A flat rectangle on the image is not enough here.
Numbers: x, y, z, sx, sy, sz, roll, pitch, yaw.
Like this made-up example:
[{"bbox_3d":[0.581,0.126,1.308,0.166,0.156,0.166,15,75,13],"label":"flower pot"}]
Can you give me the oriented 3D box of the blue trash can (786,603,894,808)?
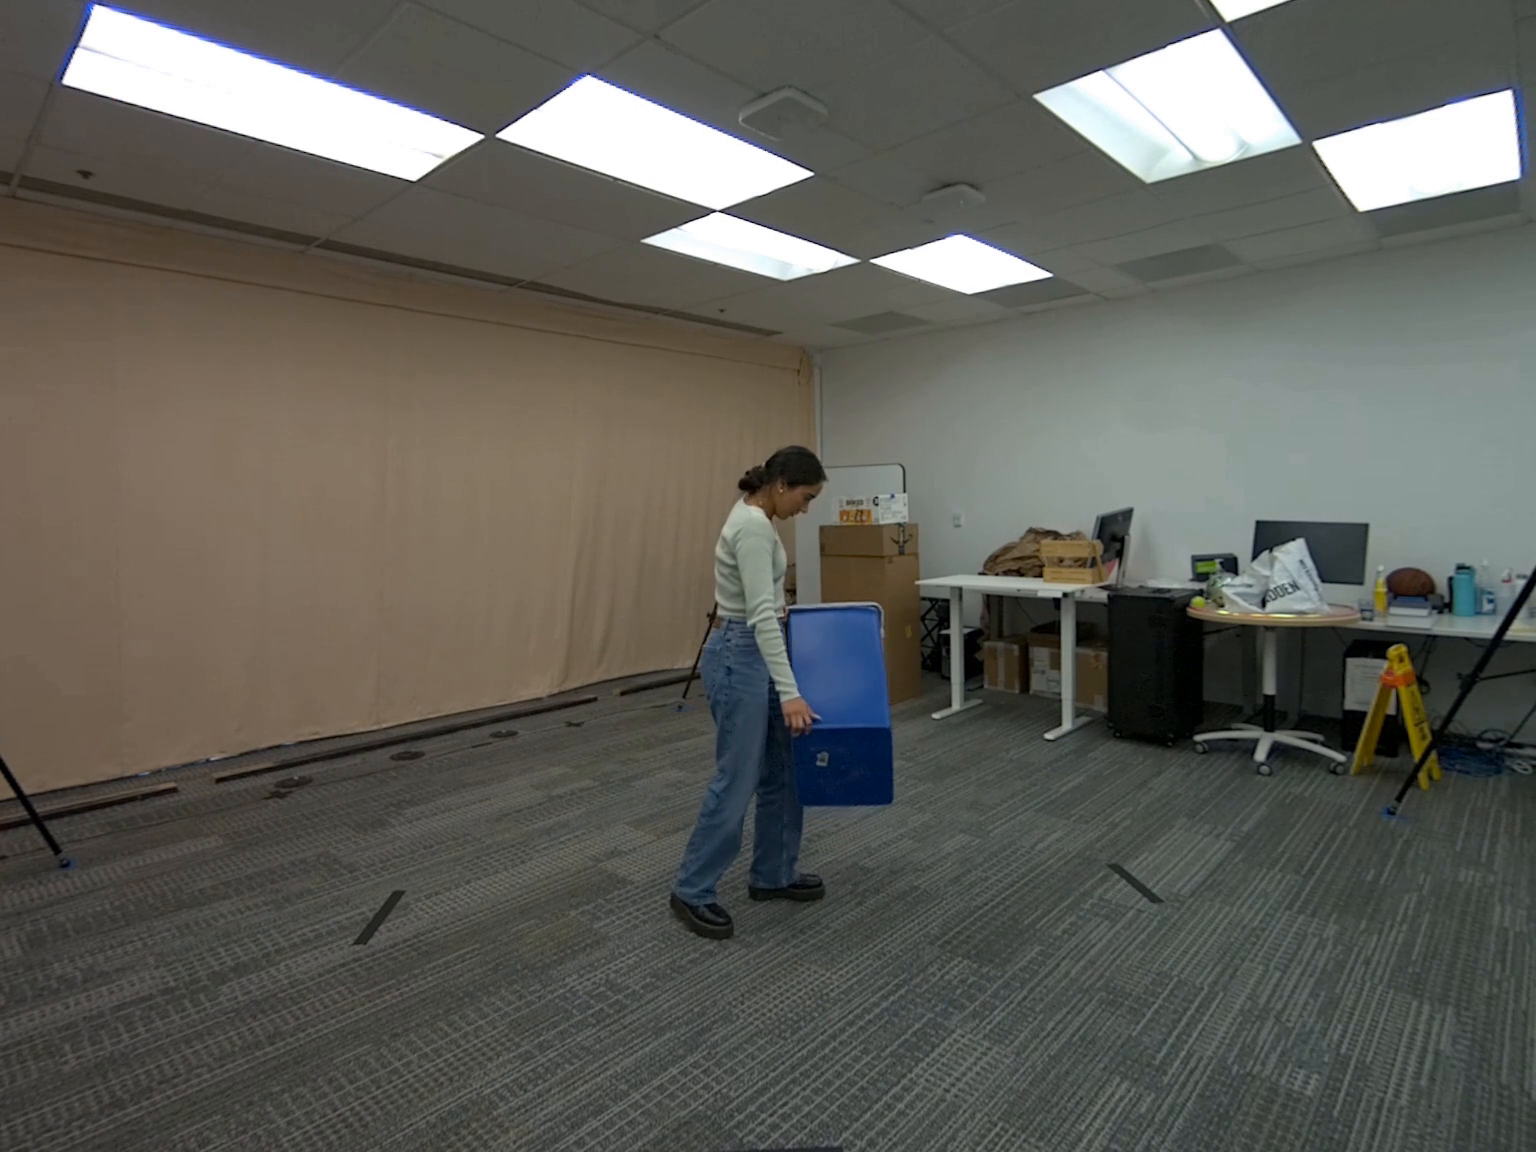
[{"bbox_3d":[0.240,0.419,2.904,0.376,0.372,0.721,-4,25,5],"label":"blue trash can"}]
